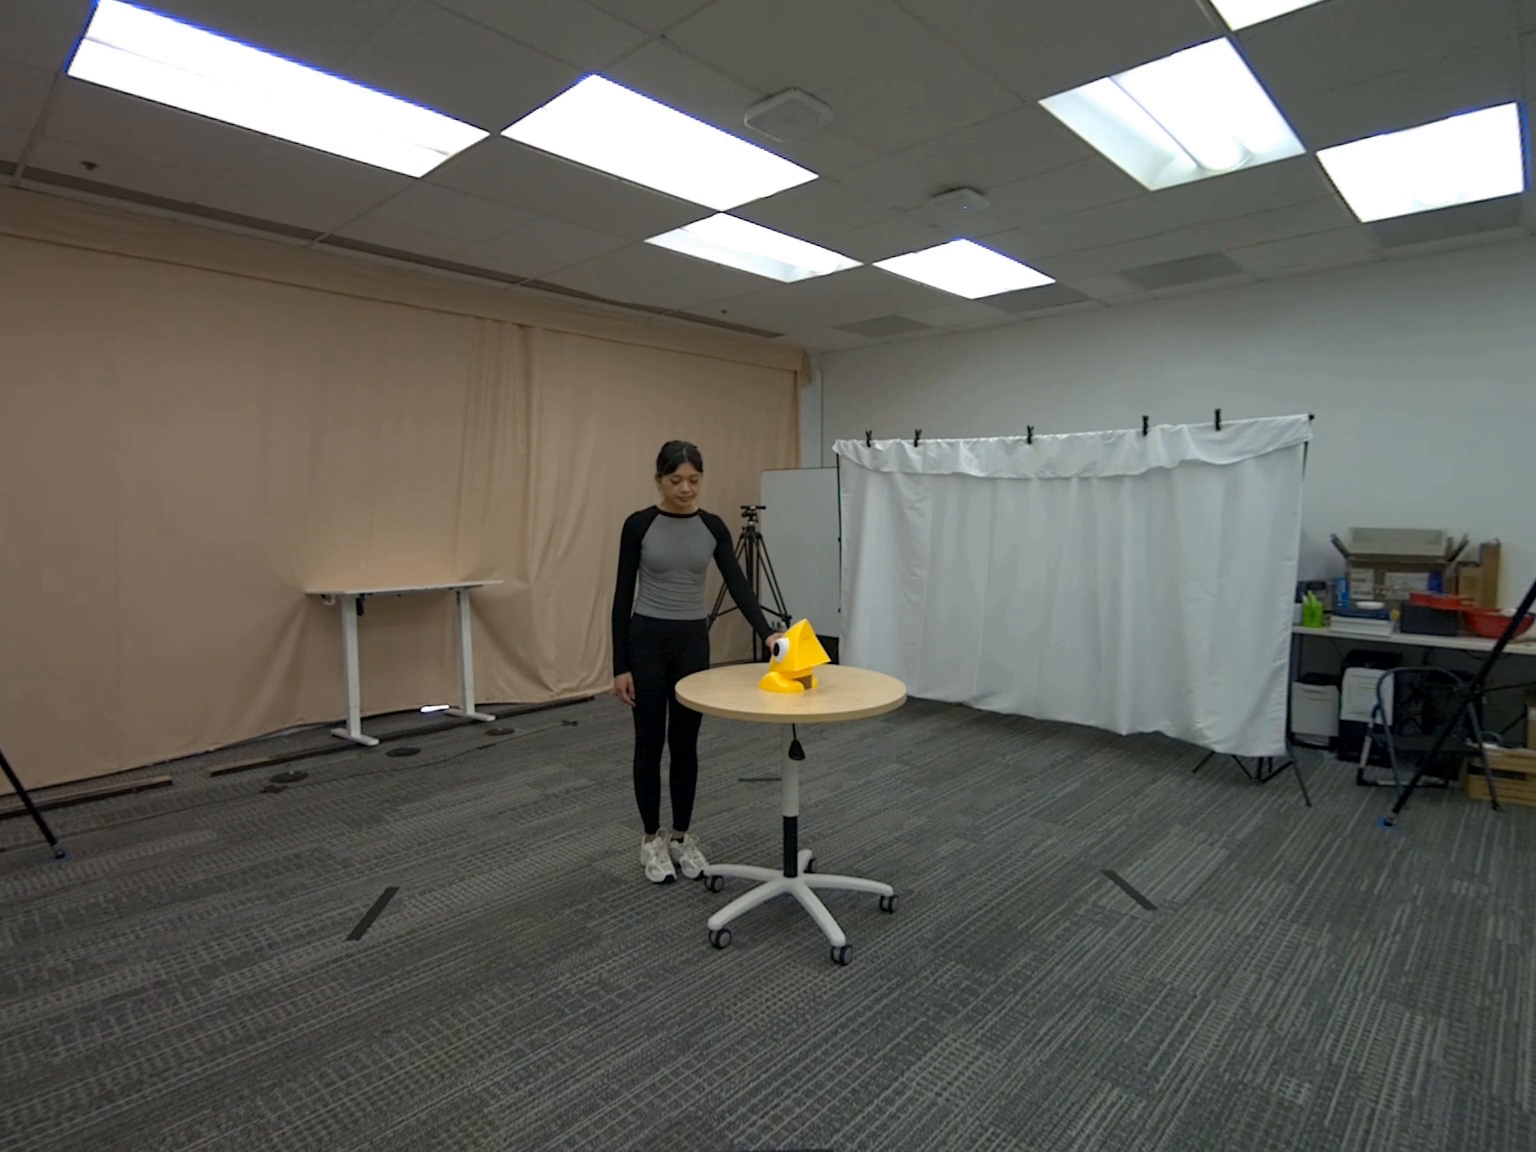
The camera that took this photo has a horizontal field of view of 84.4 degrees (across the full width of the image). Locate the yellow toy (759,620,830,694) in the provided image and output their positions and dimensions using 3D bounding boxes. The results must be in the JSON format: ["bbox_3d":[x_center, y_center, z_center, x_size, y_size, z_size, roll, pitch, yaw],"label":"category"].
[{"bbox_3d":[0.077,0.254,2.796,0.199,0.230,0.199,2,5,38],"label":"yellow toy"}]
